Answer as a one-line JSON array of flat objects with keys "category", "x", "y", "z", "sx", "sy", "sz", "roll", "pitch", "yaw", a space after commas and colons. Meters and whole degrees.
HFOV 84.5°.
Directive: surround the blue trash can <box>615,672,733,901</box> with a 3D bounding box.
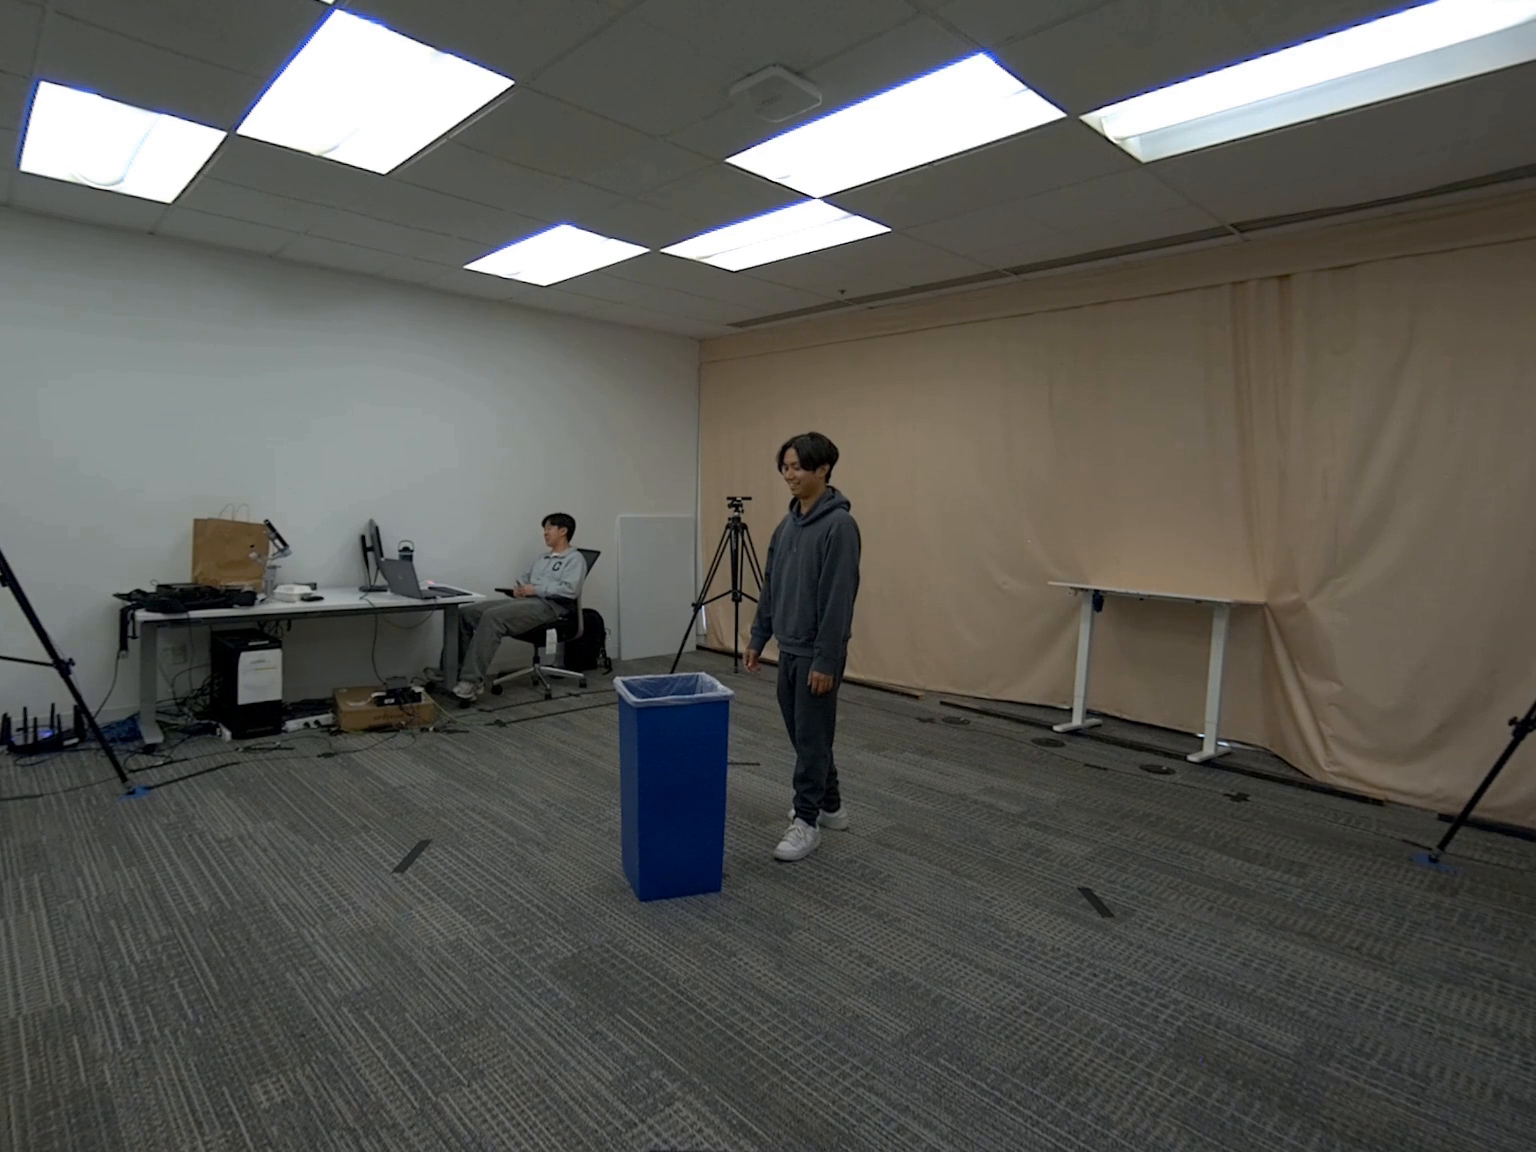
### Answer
[{"category": "blue trash can", "x": -0.359, "y": 0.748, "z": 3.046, "sx": 0.368, "sy": 0.712, "sz": 0.385, "roll": 0, "pitch": 3, "yaw": -21}]
